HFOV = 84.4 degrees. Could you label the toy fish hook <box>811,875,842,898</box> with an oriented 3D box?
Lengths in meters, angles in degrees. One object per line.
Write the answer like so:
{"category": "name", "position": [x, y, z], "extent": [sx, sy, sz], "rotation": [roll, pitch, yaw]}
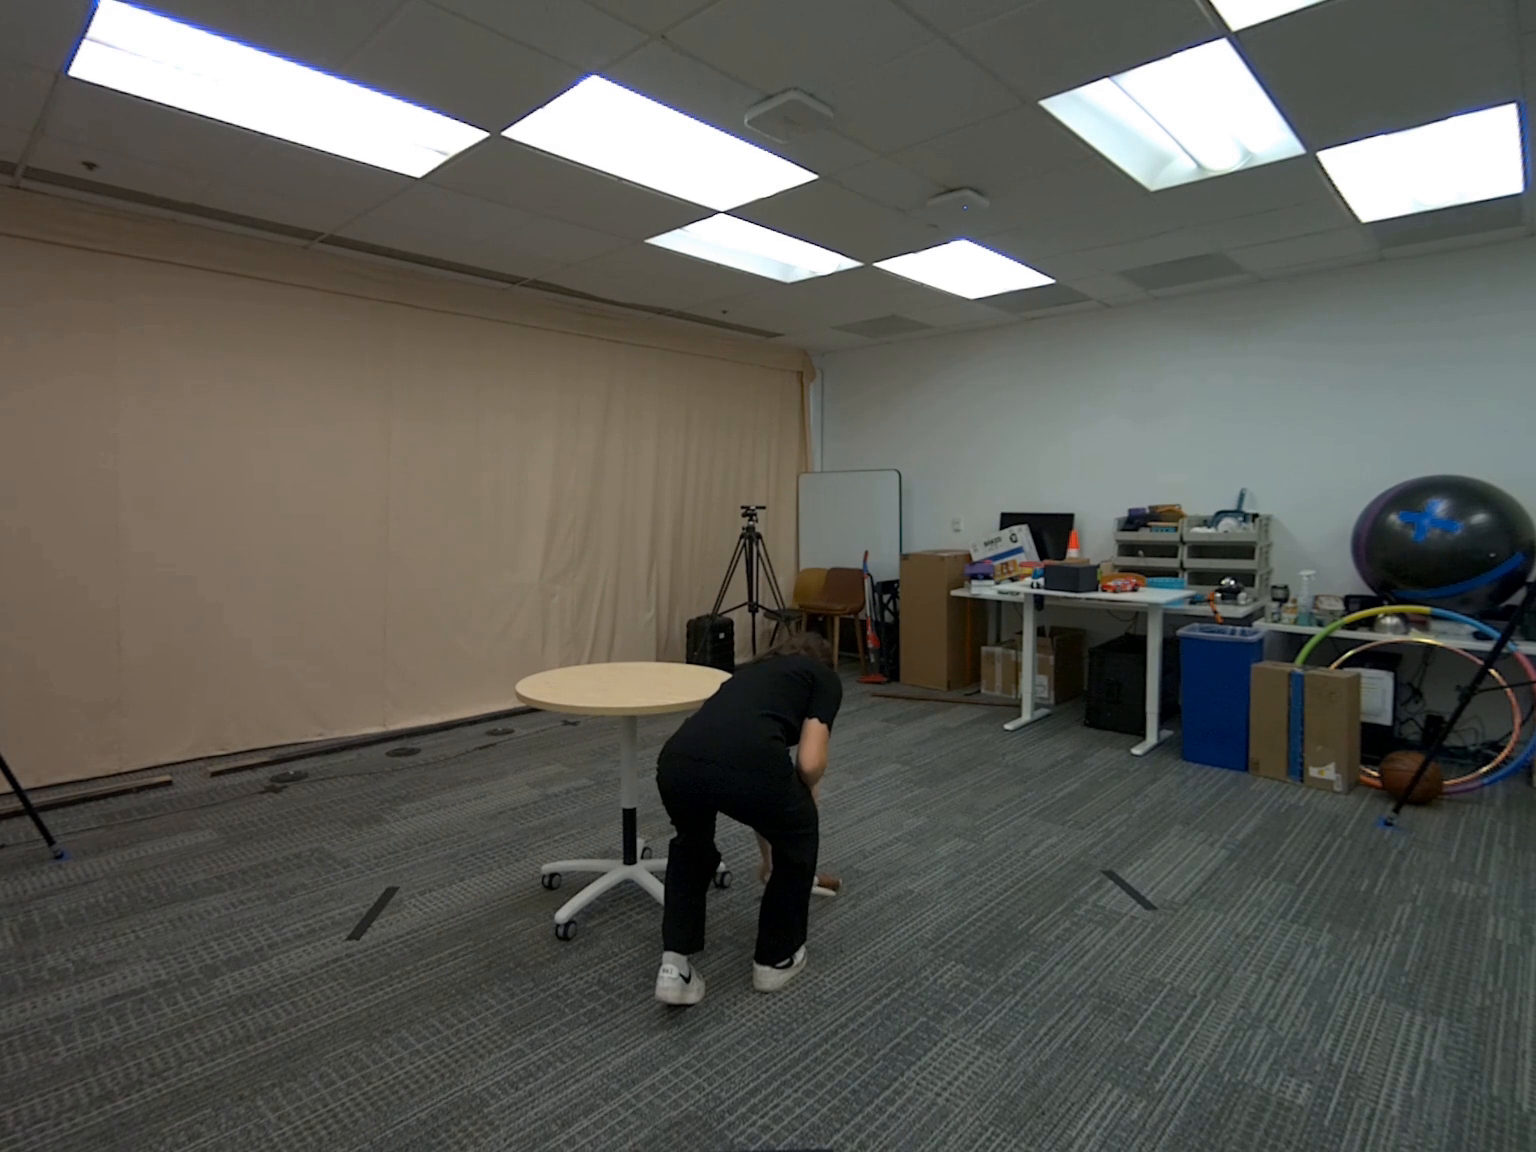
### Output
{"category": "toy fish hook", "position": [0.184, 1.050, 2.844], "extent": [0.232, 0.048, 0.488], "rotation": [9, -13, 36]}
